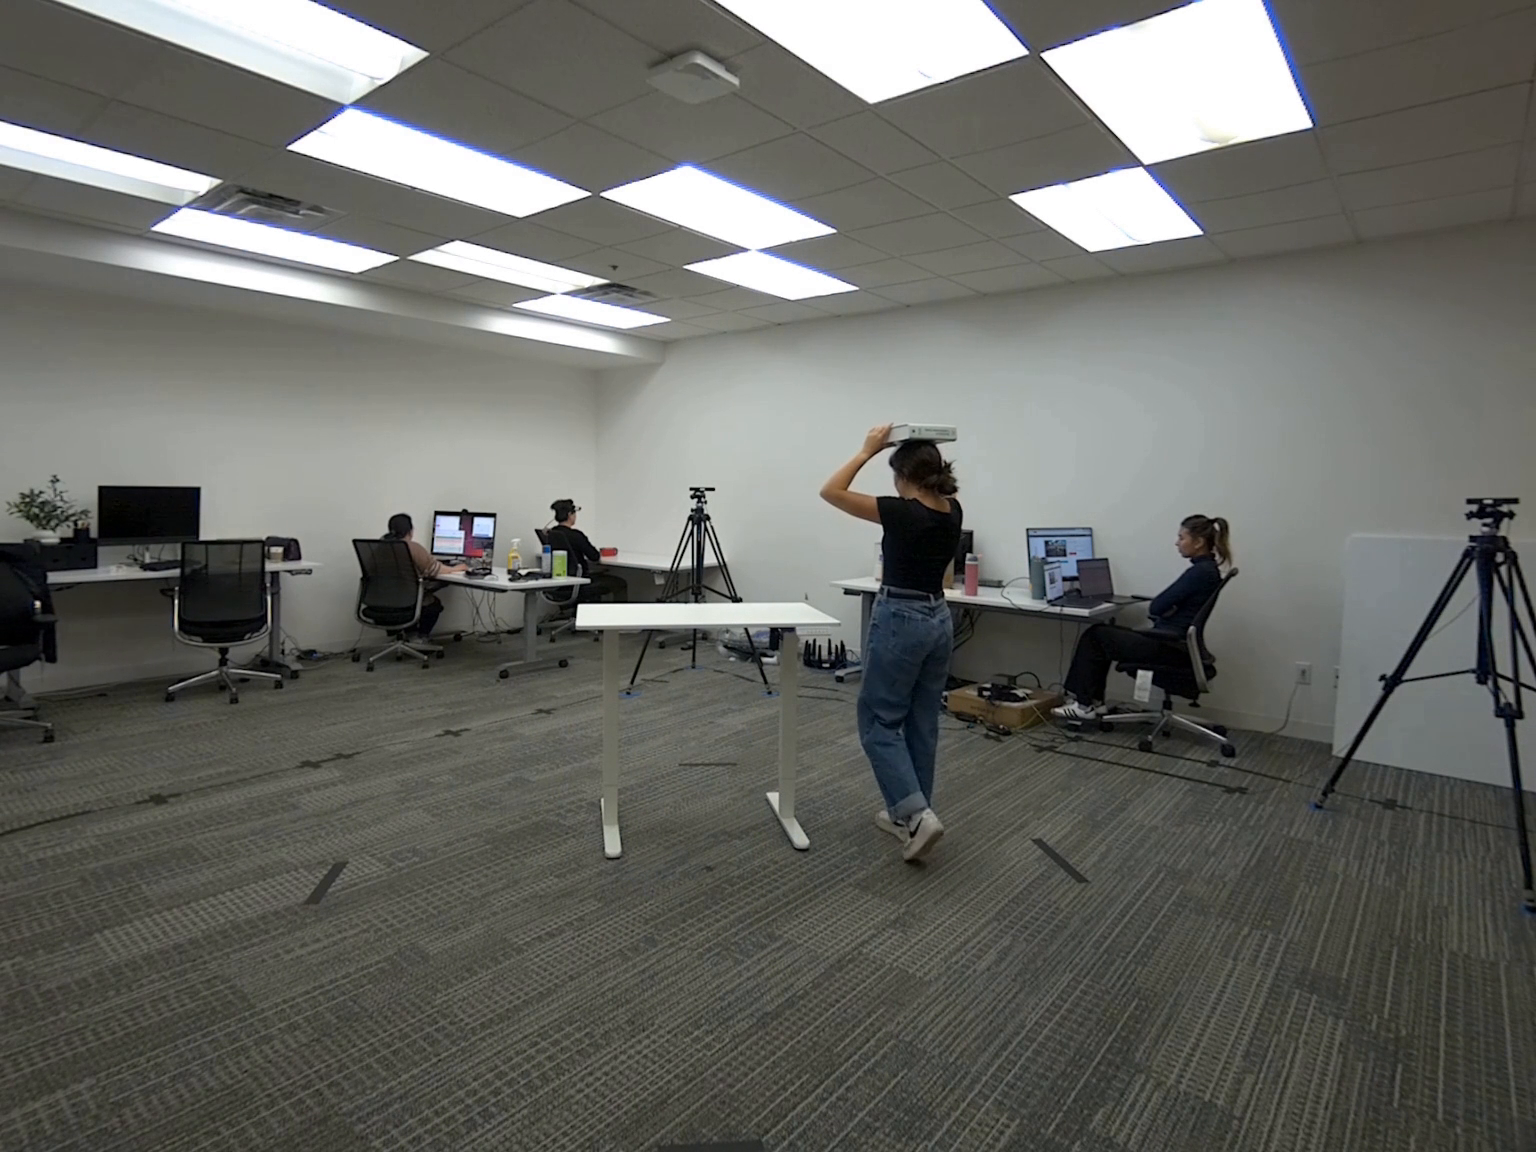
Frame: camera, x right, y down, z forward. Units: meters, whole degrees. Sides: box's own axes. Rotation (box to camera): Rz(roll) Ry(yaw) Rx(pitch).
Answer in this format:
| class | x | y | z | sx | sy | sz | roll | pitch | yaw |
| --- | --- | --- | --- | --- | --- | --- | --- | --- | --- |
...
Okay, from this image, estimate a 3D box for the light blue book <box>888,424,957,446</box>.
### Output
| class | x | y | z | sx | sy | sz | roll | pitch | yaw |
| --- | --- | --- | --- | --- | --- | --- | --- | --- | --- |
| light blue book | 0.579 | -0.560 | 3.343 | 0.254 | 0.059 | 0.197 | -3 | 3 | -34 |
